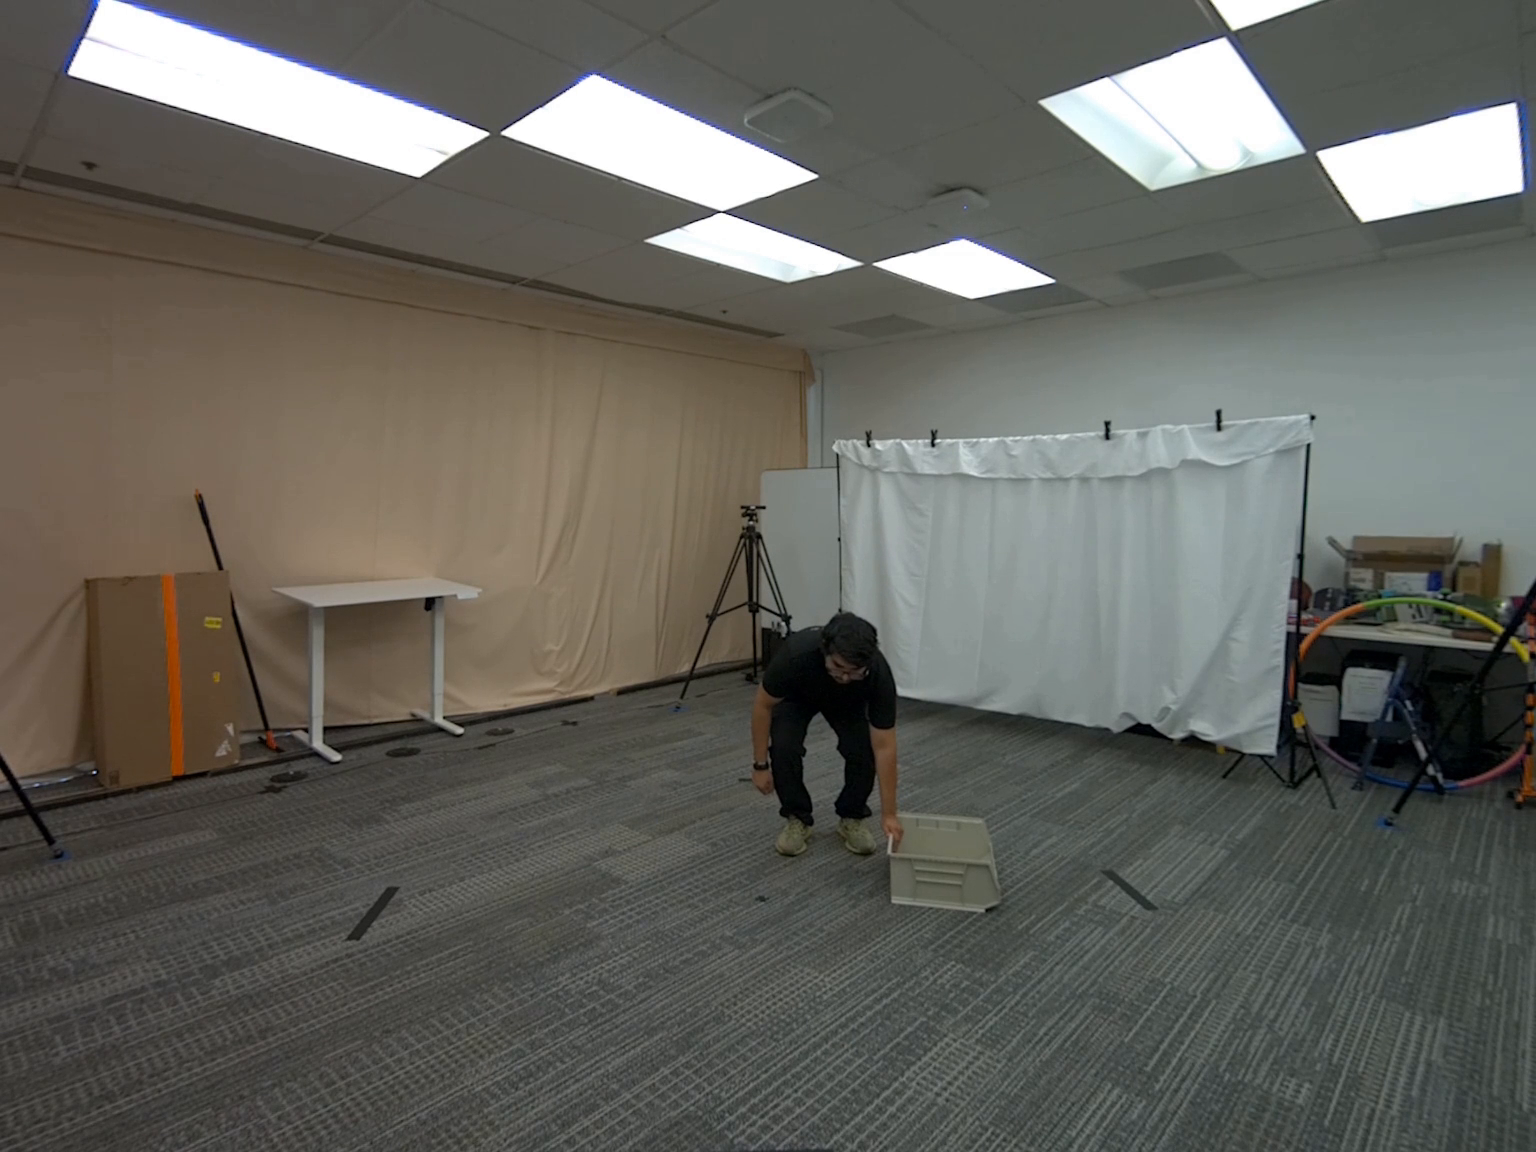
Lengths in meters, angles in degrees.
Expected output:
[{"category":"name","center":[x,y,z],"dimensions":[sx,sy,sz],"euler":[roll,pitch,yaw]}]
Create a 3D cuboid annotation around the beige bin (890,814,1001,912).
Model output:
[{"category":"beige bin","center":[0.650,1.044,3.100],"dimensions":[0.383,0.188,0.417],"euler":[-1,5,12]}]
